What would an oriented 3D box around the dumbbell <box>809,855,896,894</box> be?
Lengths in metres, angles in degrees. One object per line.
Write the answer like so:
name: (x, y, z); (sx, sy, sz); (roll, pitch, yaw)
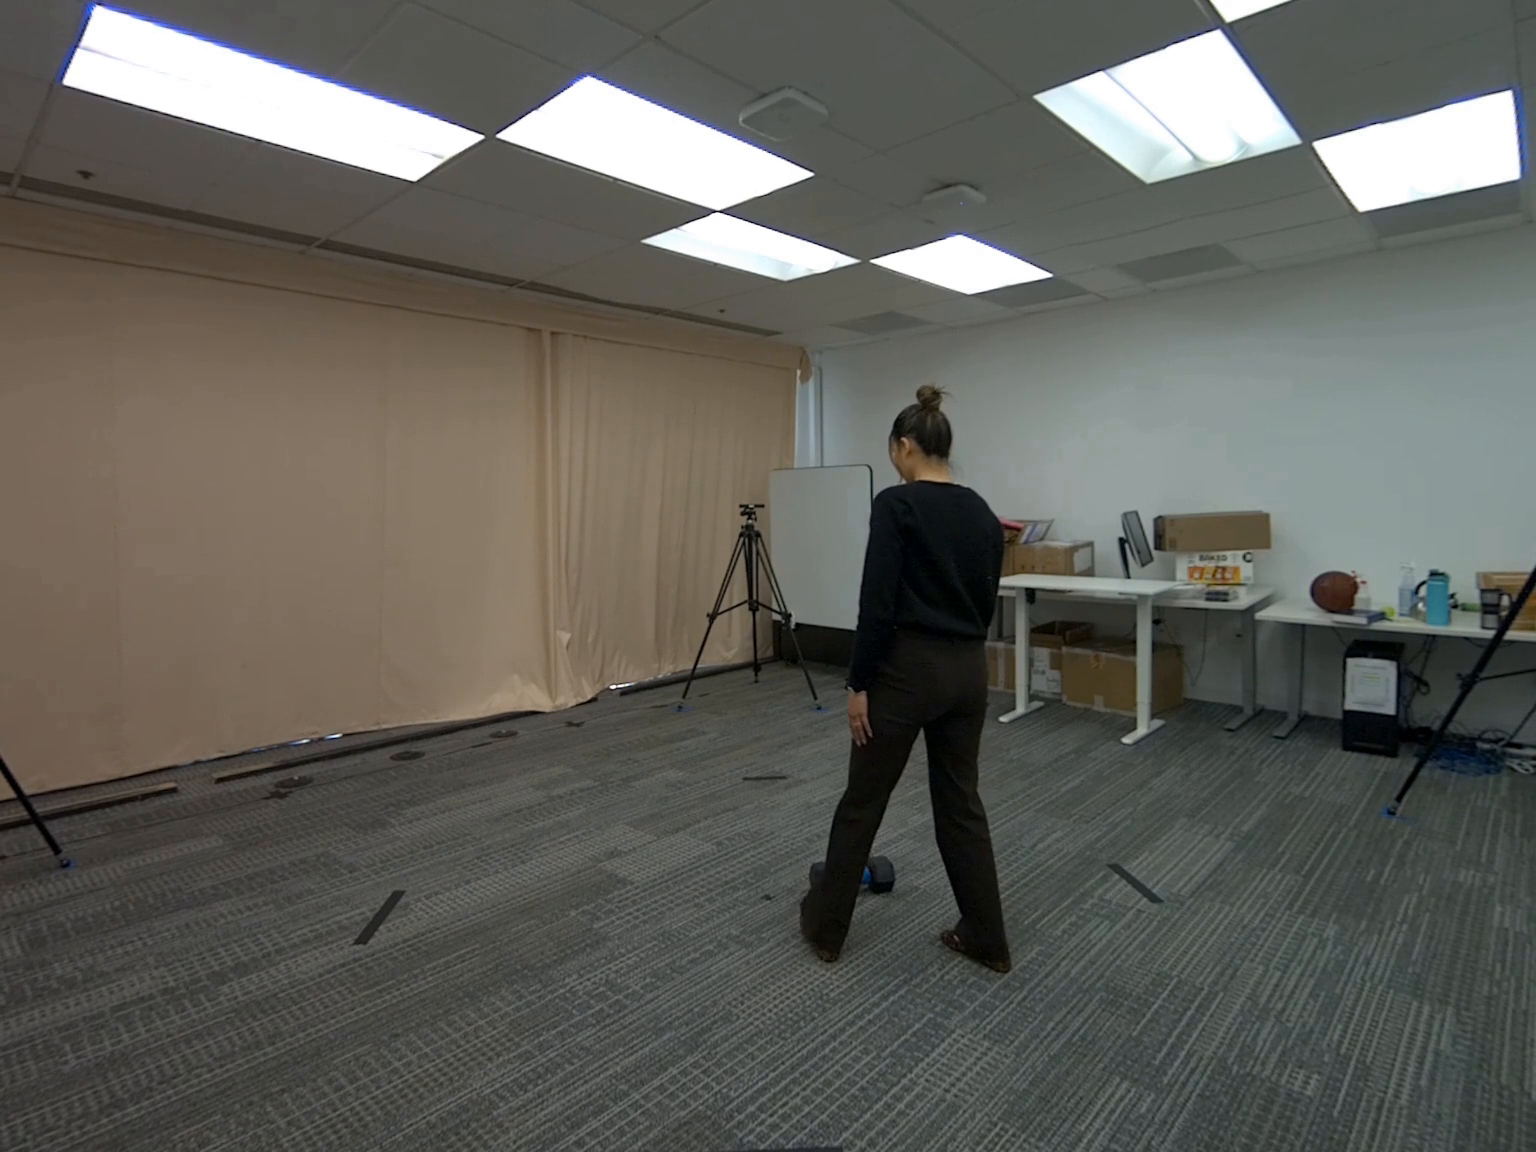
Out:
dumbbell: (0.305, 1.080, 3.008); (0.290, 0.125, 0.108); (-3, -25, -10)
